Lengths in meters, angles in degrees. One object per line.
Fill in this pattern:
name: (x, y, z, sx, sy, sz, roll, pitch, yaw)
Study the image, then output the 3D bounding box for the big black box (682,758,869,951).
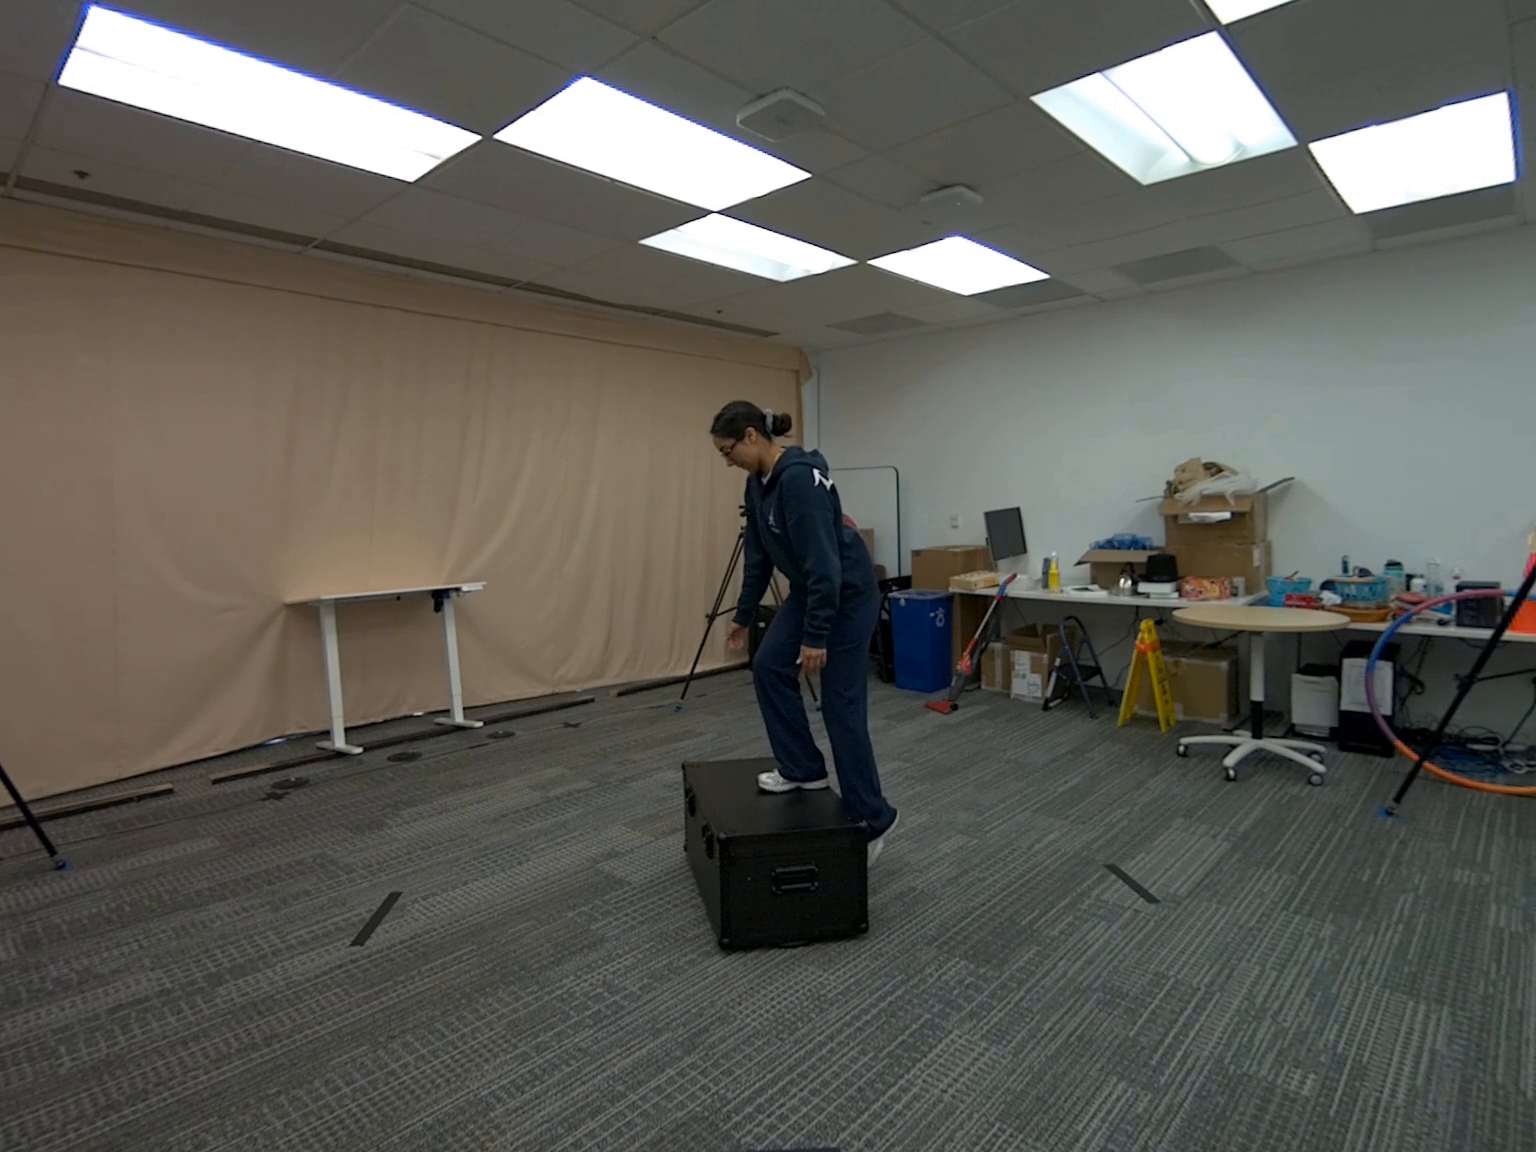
big black box: (-0.015, 0.946, 3.044, 0.514, 0.395, 0.875, -1, 5, -13)
